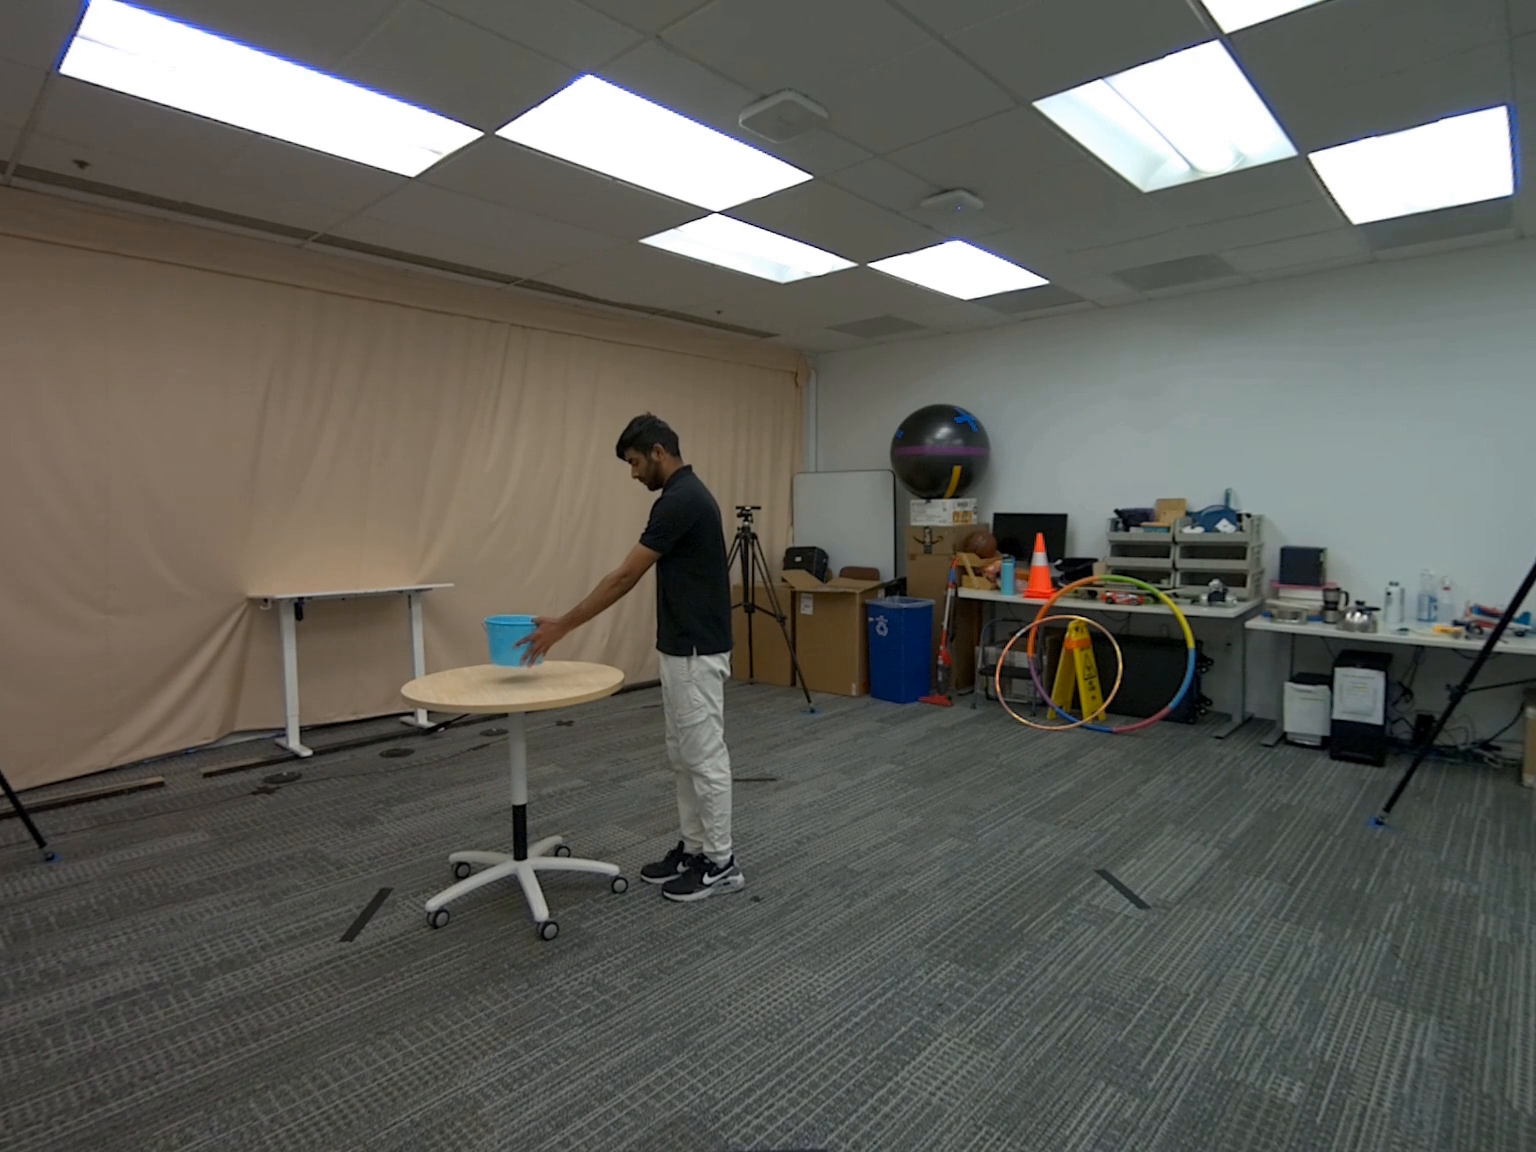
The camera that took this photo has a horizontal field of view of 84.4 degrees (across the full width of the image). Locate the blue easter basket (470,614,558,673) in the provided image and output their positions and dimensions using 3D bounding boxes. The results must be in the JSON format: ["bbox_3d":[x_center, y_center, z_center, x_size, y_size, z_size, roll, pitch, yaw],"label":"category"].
[{"bbox_3d":[-0.883,0.231,2.960,0.243,0.155,0.245,0,6,-2],"label":"blue easter basket"}]
